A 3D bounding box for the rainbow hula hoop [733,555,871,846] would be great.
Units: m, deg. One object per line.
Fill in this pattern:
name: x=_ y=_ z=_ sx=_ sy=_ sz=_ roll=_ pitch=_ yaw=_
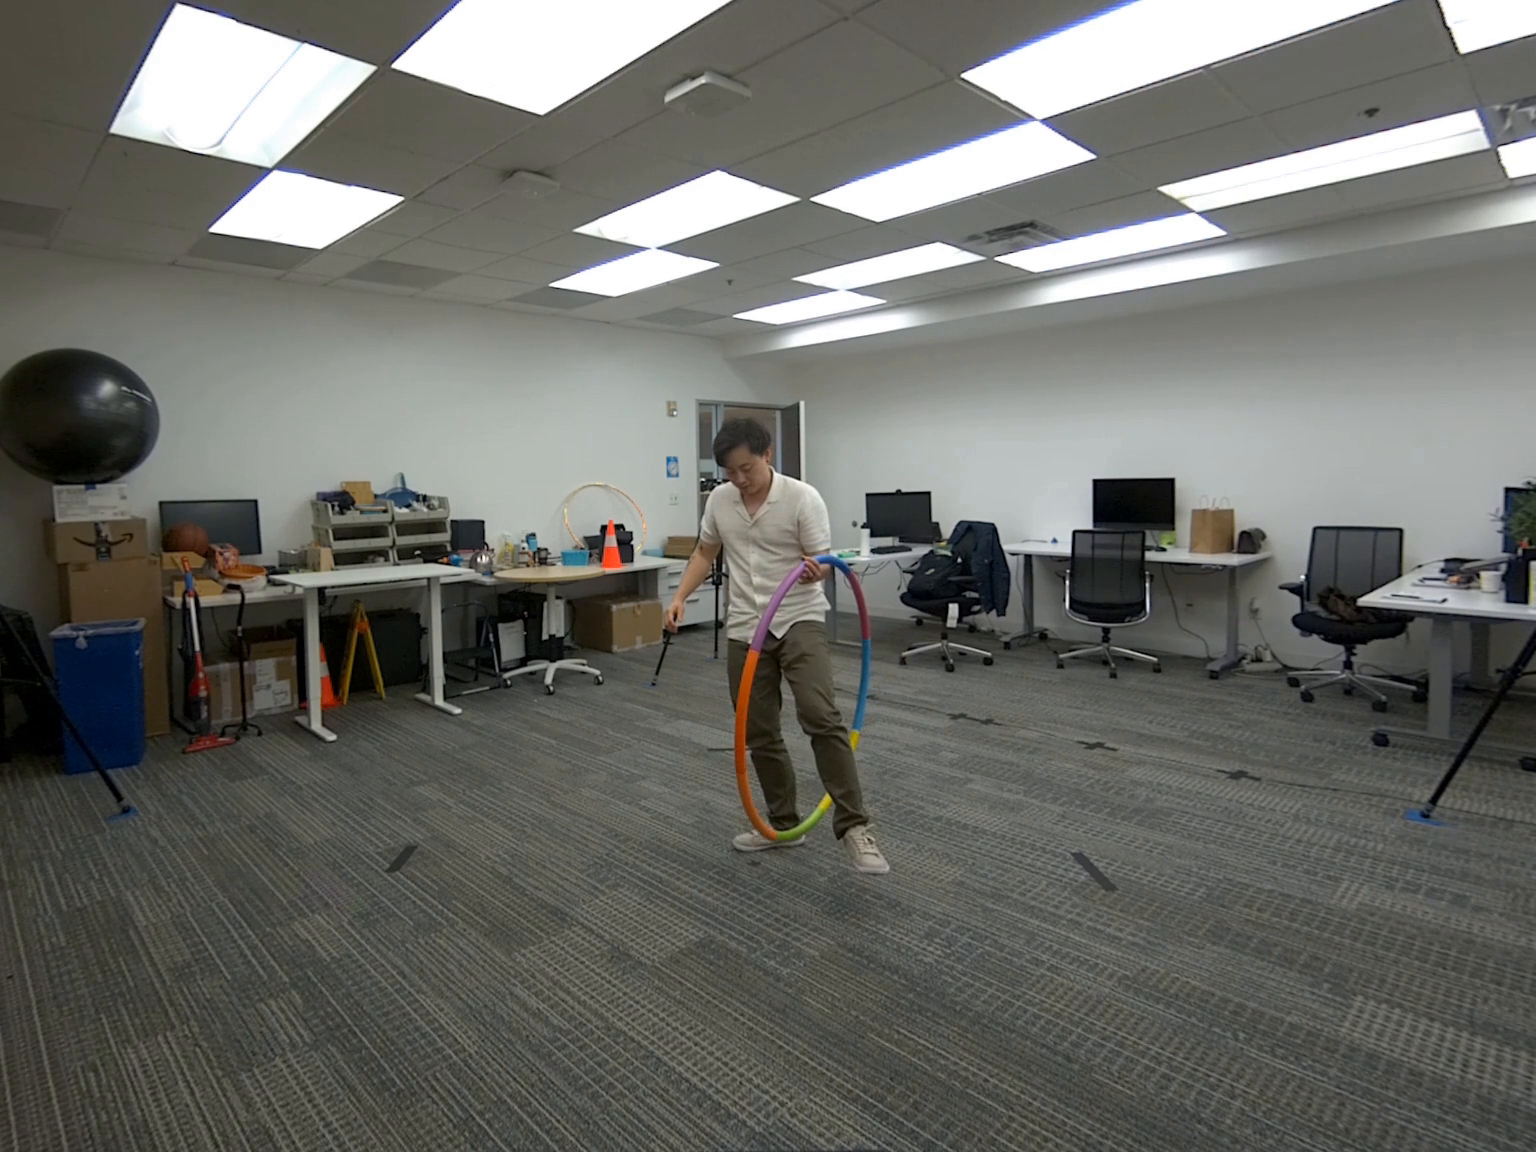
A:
rainbow hula hoop: x=0.151 y=0.420 z=2.975 sx=0.036 sy=0.973 sz=0.957 roll=6 pitch=7 yaw=29
